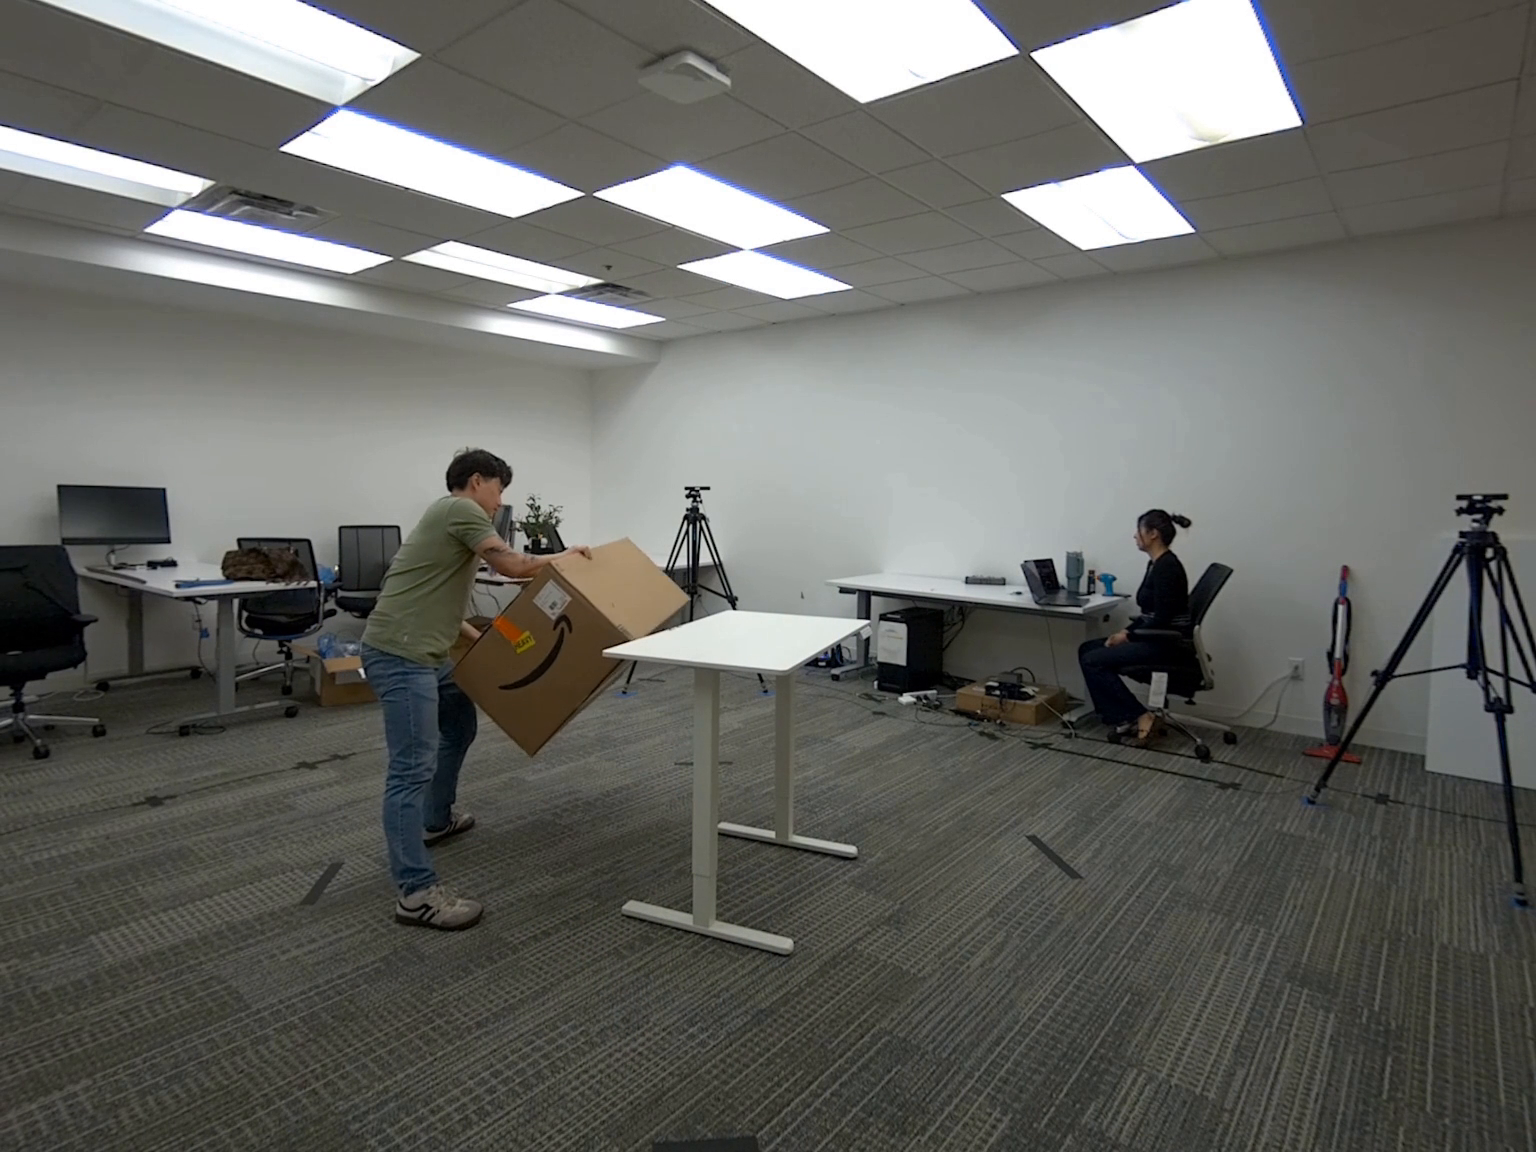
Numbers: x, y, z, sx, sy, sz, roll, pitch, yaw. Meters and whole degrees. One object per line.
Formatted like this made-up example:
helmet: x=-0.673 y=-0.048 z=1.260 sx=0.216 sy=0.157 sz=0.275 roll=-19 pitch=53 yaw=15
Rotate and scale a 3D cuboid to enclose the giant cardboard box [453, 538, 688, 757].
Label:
giant cardboard box: x=-0.763 y=0.229 z=3.484 sx=0.427 sy=0.577 sz=1.023 roll=43 pitch=9 yaw=0
